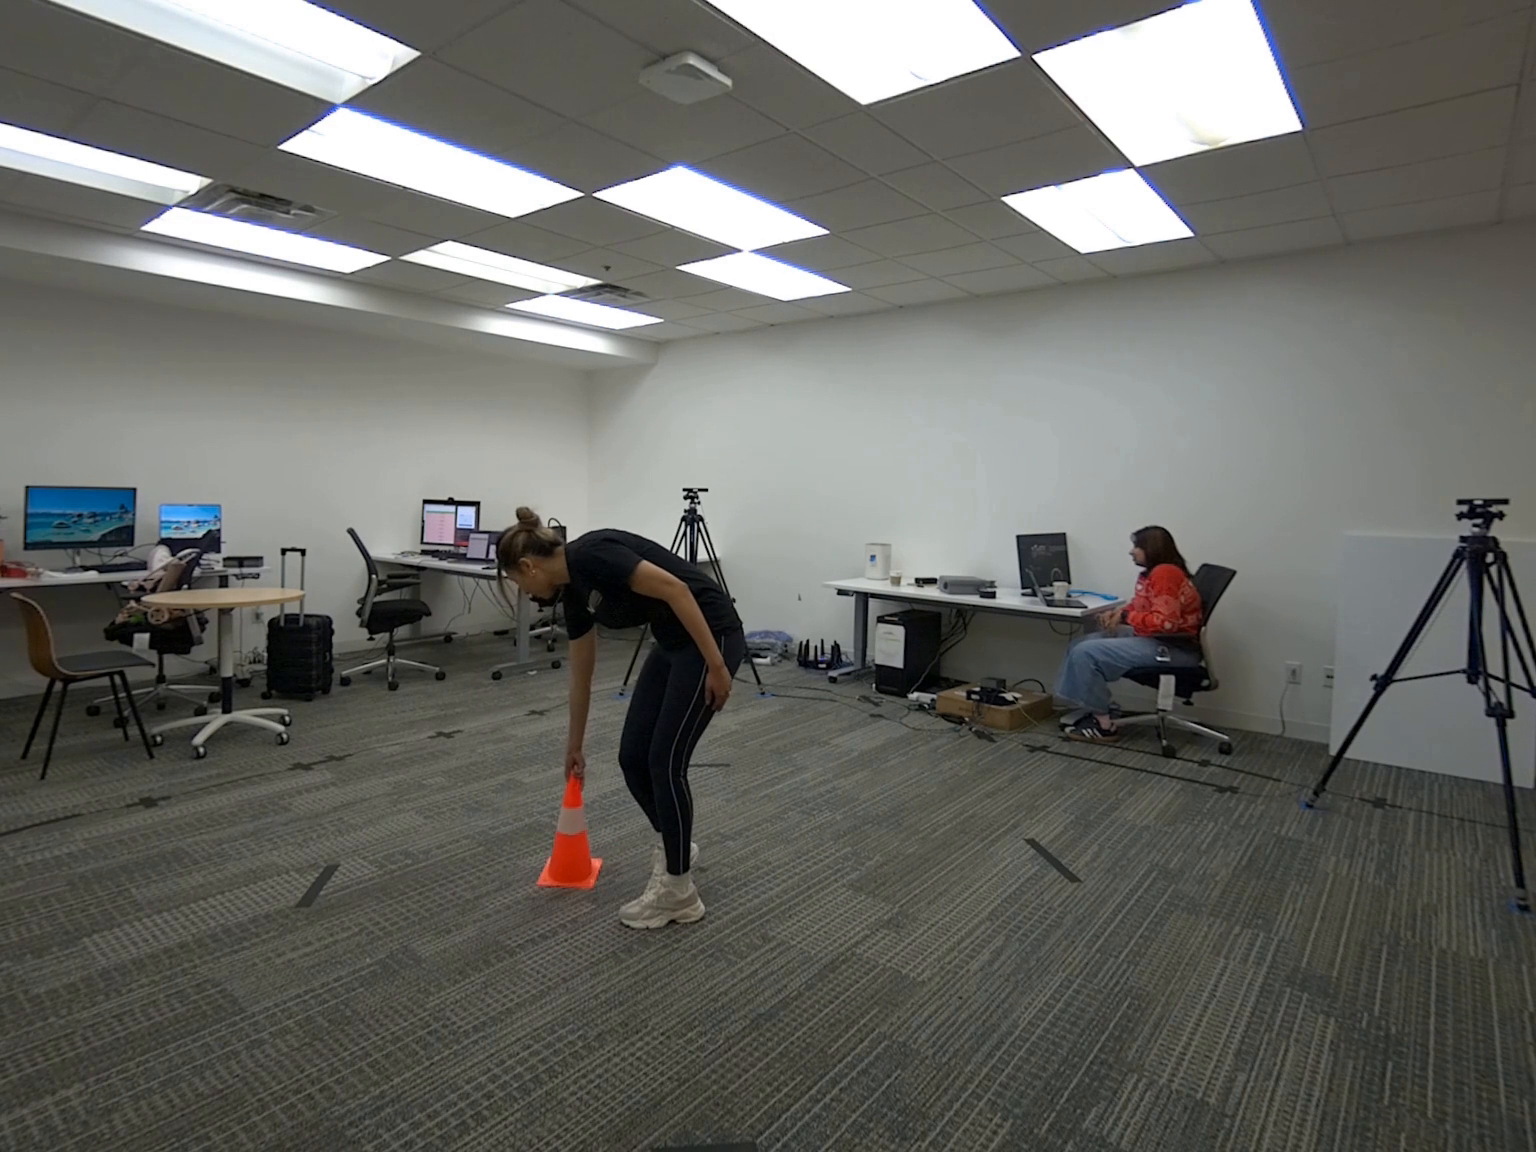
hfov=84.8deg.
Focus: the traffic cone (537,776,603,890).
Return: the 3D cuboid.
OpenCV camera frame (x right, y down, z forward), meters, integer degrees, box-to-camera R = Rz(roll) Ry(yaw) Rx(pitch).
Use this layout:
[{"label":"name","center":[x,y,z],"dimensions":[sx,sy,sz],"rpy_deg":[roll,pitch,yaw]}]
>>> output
[{"label":"traffic cone","center":[-0.712,0.883,3.012],"dimensions":[0.204,0.381,0.206],"rpy_deg":[1,8,2]}]
